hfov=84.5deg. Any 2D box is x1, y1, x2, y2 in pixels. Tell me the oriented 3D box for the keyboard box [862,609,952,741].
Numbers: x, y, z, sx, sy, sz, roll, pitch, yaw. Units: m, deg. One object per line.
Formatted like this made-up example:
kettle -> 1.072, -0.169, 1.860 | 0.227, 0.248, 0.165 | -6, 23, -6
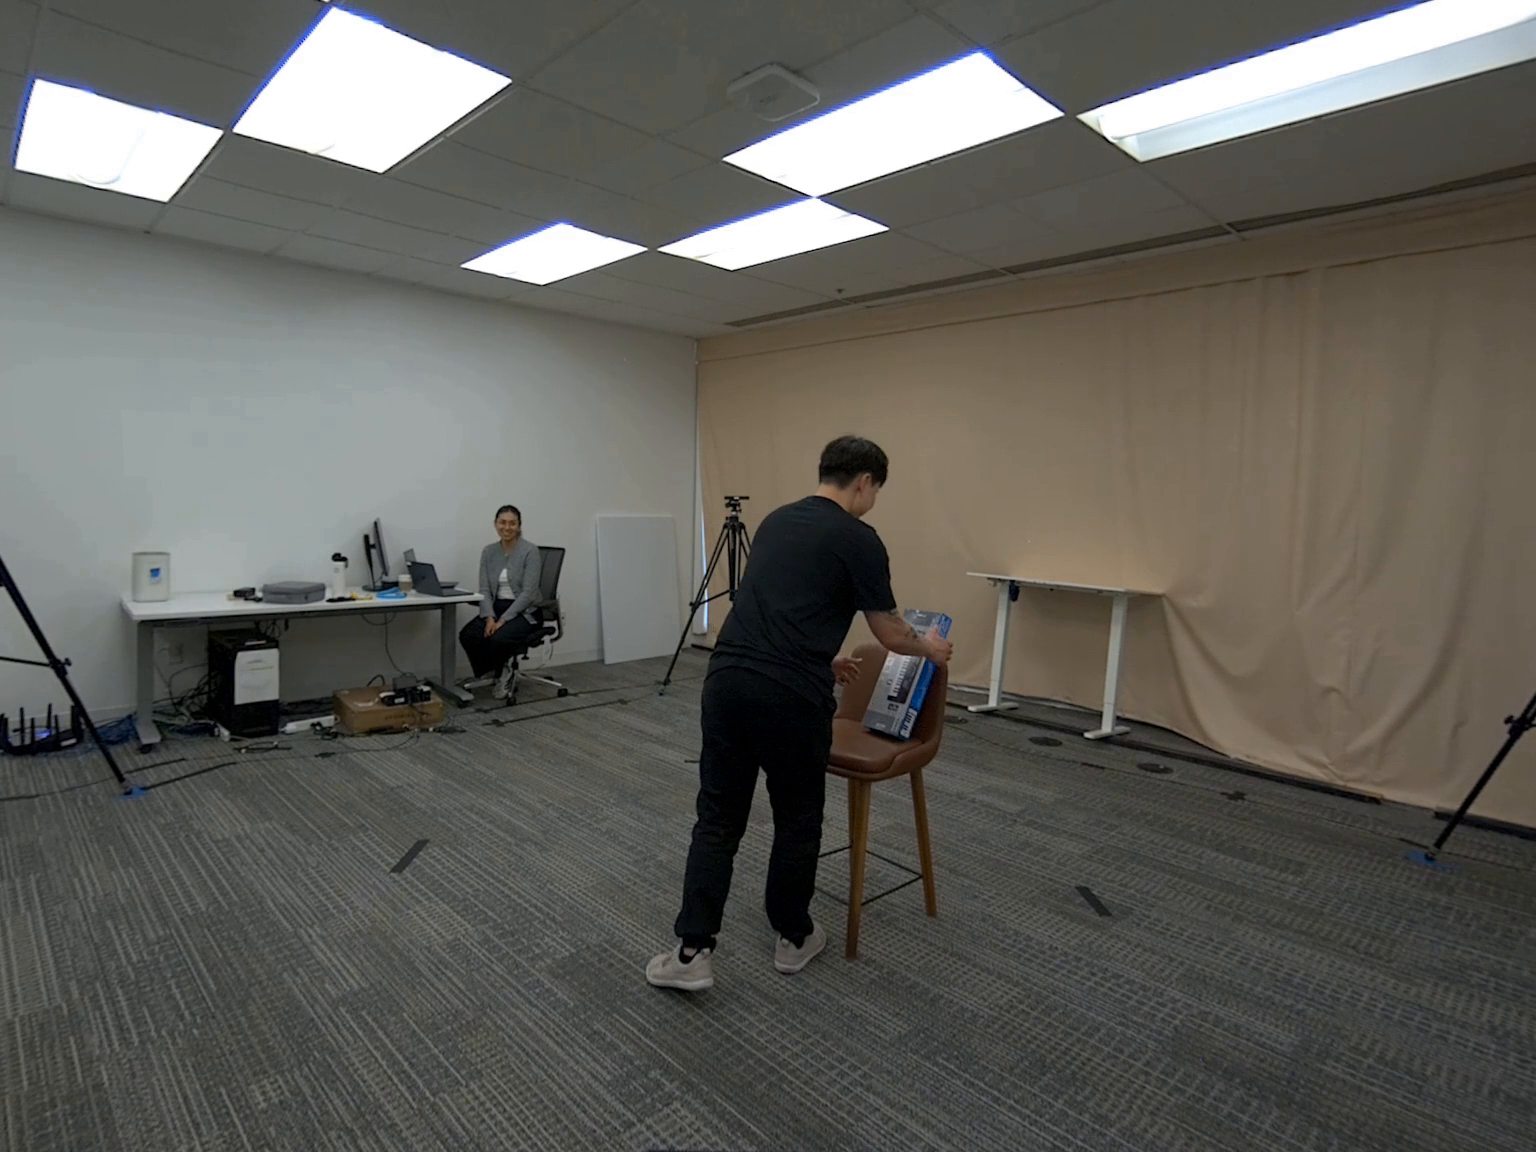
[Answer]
keyboard box -> 0.462, 0.326, 2.839 | 0.057, 0.439, 0.180 | 32, -16, -32
